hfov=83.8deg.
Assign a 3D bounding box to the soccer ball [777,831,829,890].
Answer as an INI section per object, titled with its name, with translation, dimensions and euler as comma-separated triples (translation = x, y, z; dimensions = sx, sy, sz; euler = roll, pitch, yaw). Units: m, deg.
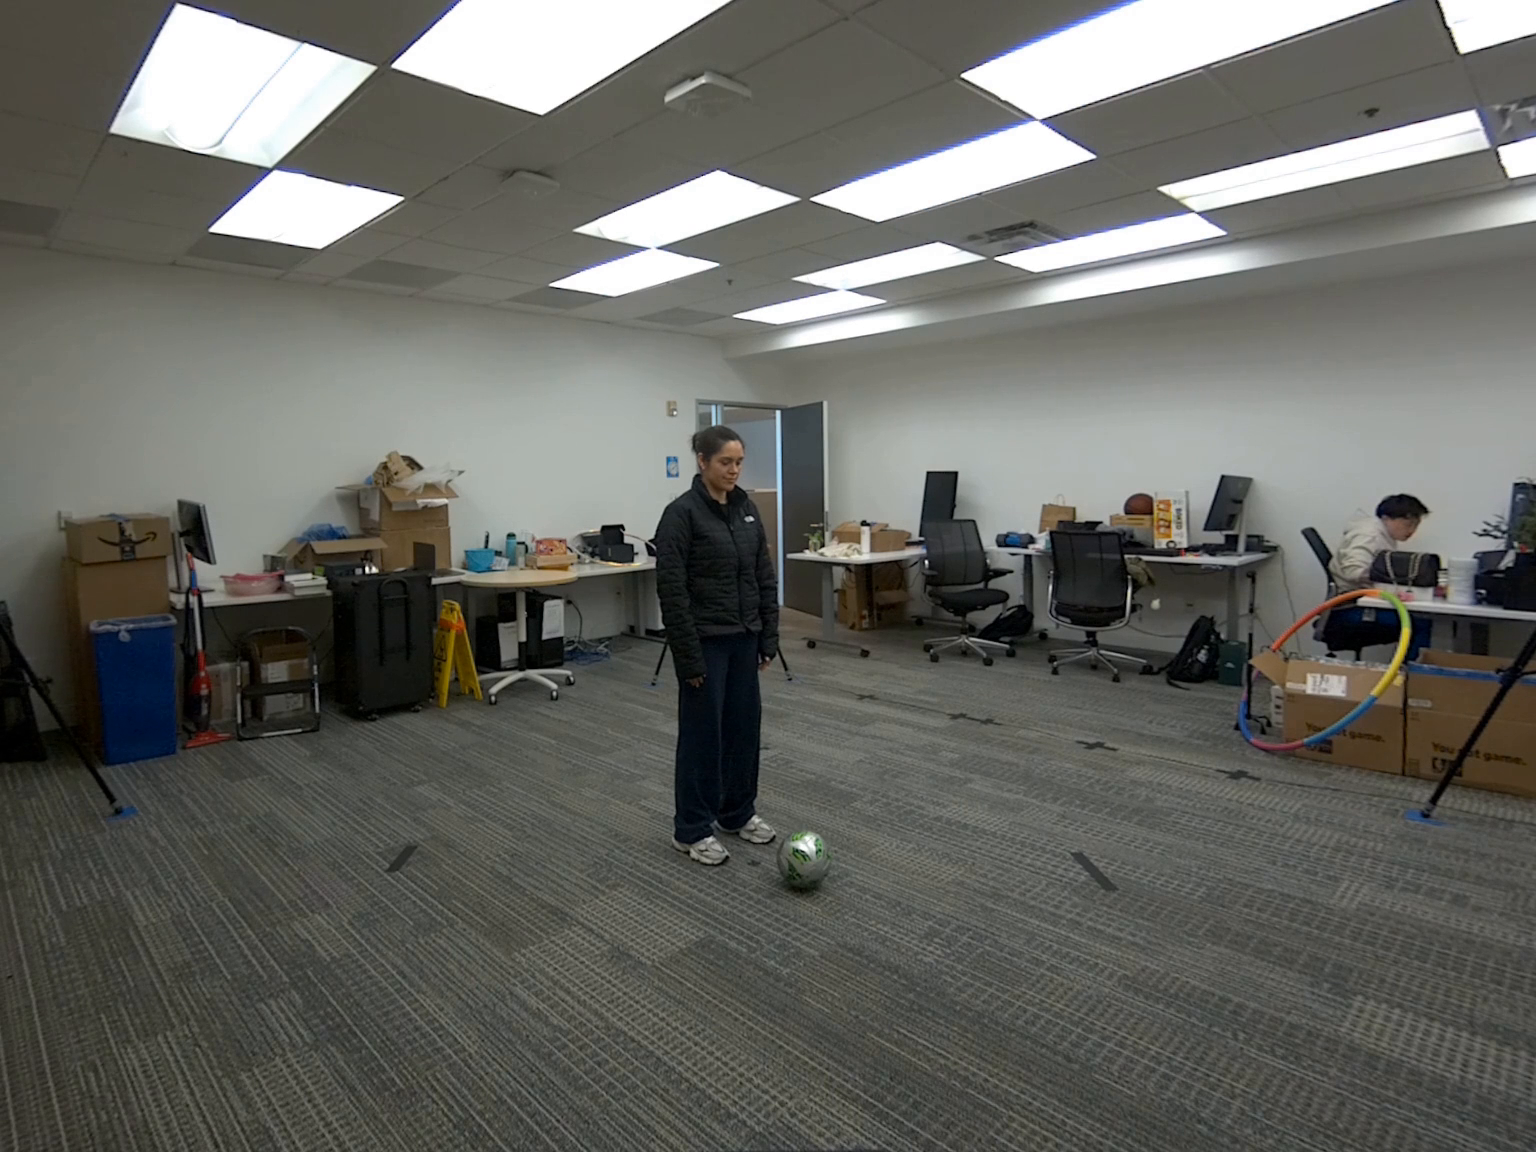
[soccer ball]
translation = 0.132, 0.966, 2.921
dimensions = 0.187, 0.187, 0.188
euler = -1, 5, -2
